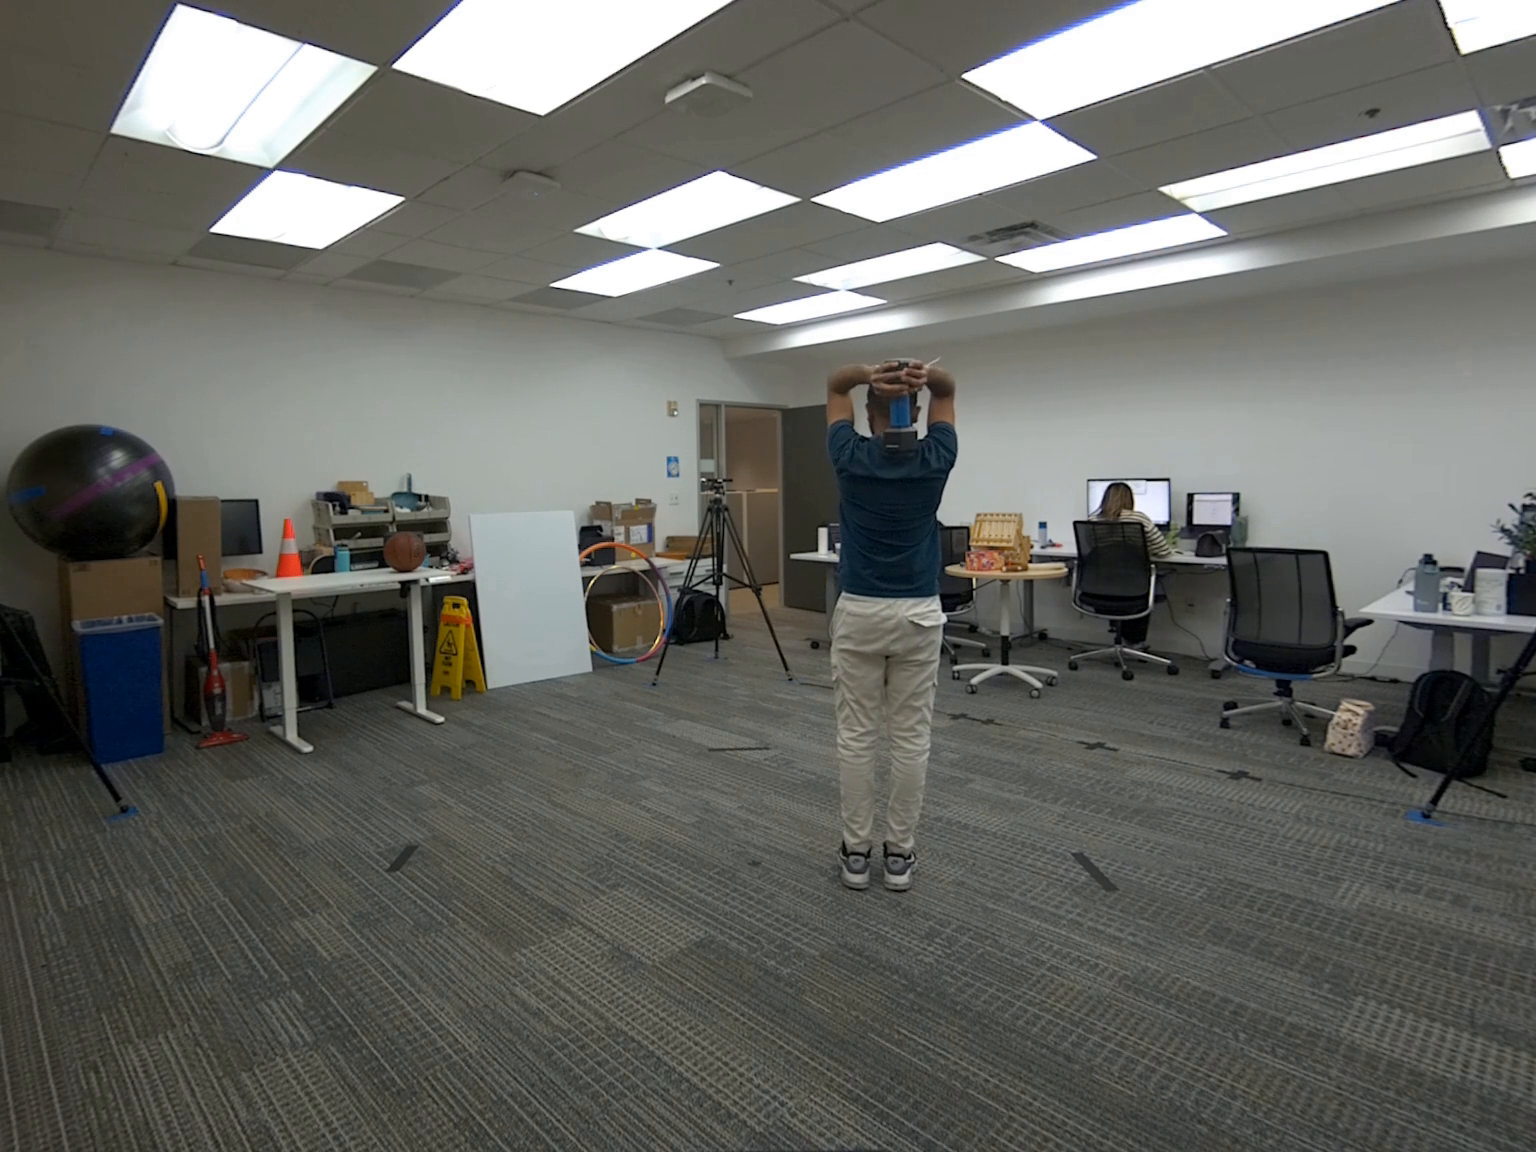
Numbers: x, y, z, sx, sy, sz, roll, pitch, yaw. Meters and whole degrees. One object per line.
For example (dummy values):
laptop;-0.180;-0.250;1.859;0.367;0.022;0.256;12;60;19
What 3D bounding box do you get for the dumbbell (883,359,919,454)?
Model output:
dumbbell;0.431;-0.542;2.716;0.109;0.292;0.123;0;5;5
